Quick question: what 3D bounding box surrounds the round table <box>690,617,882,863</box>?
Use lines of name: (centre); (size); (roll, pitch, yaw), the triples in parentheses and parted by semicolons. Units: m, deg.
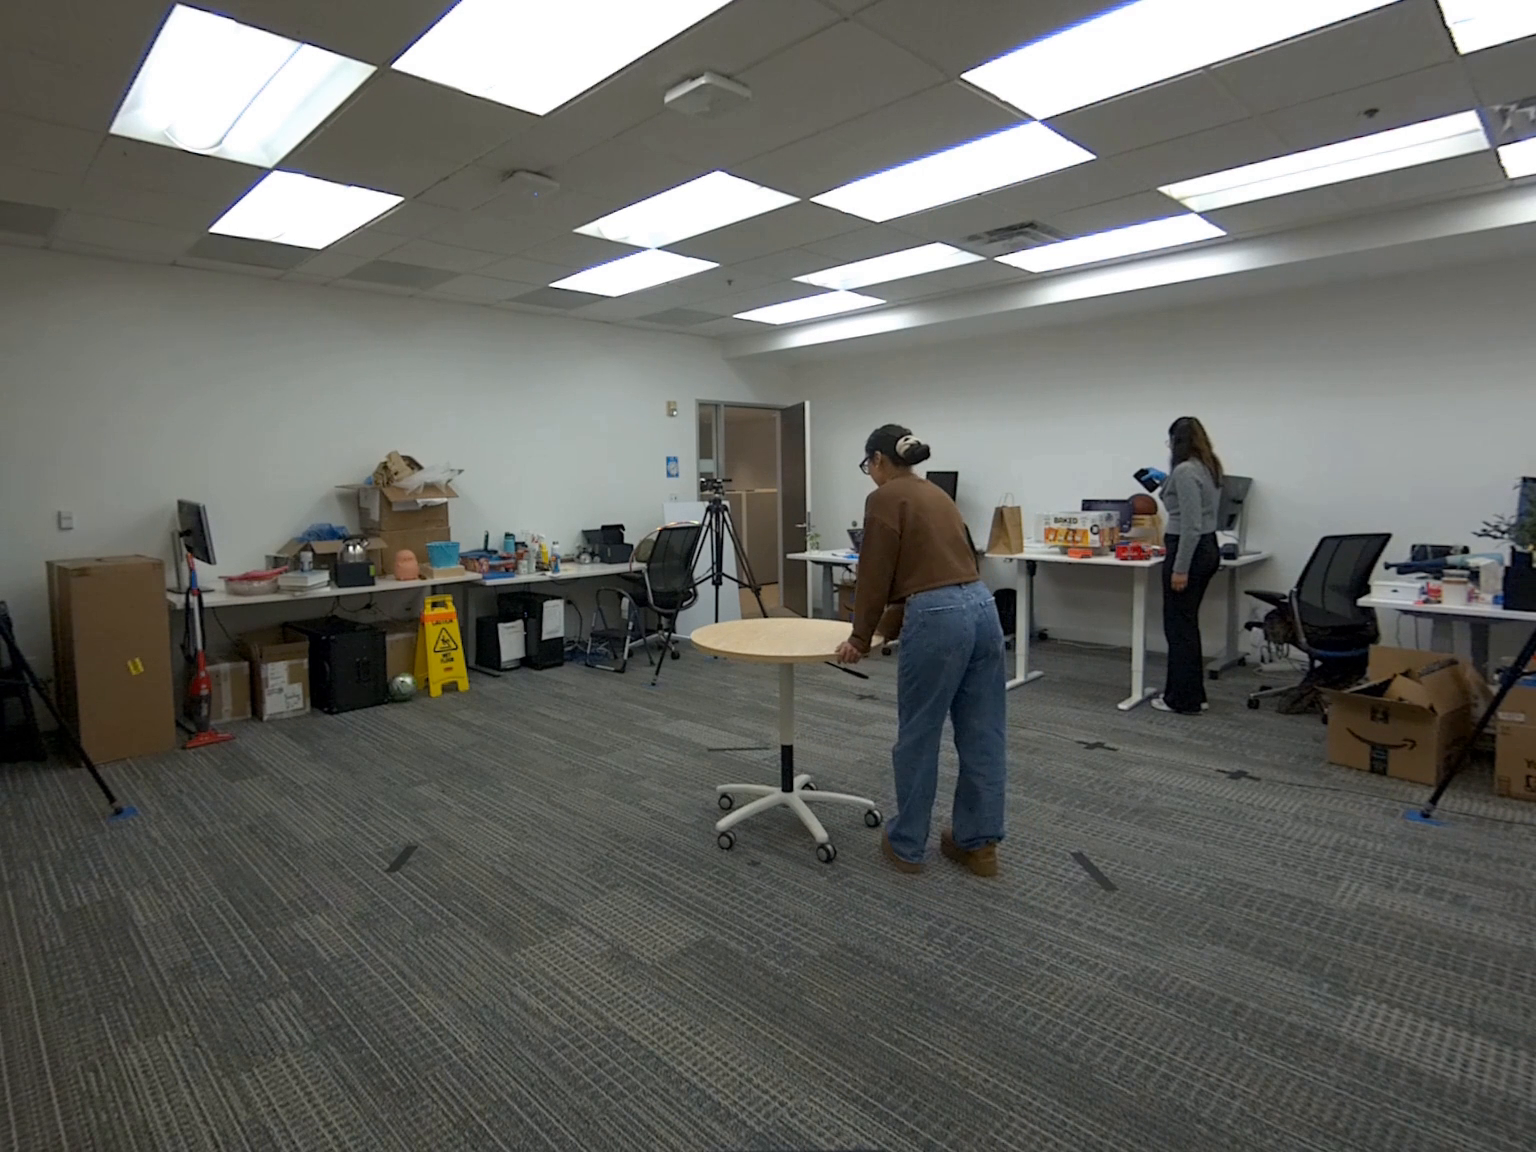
round table: (0.085, 0.619, 3.425); (0.763, 0.791, 0.768); (-1, 5, -2)
